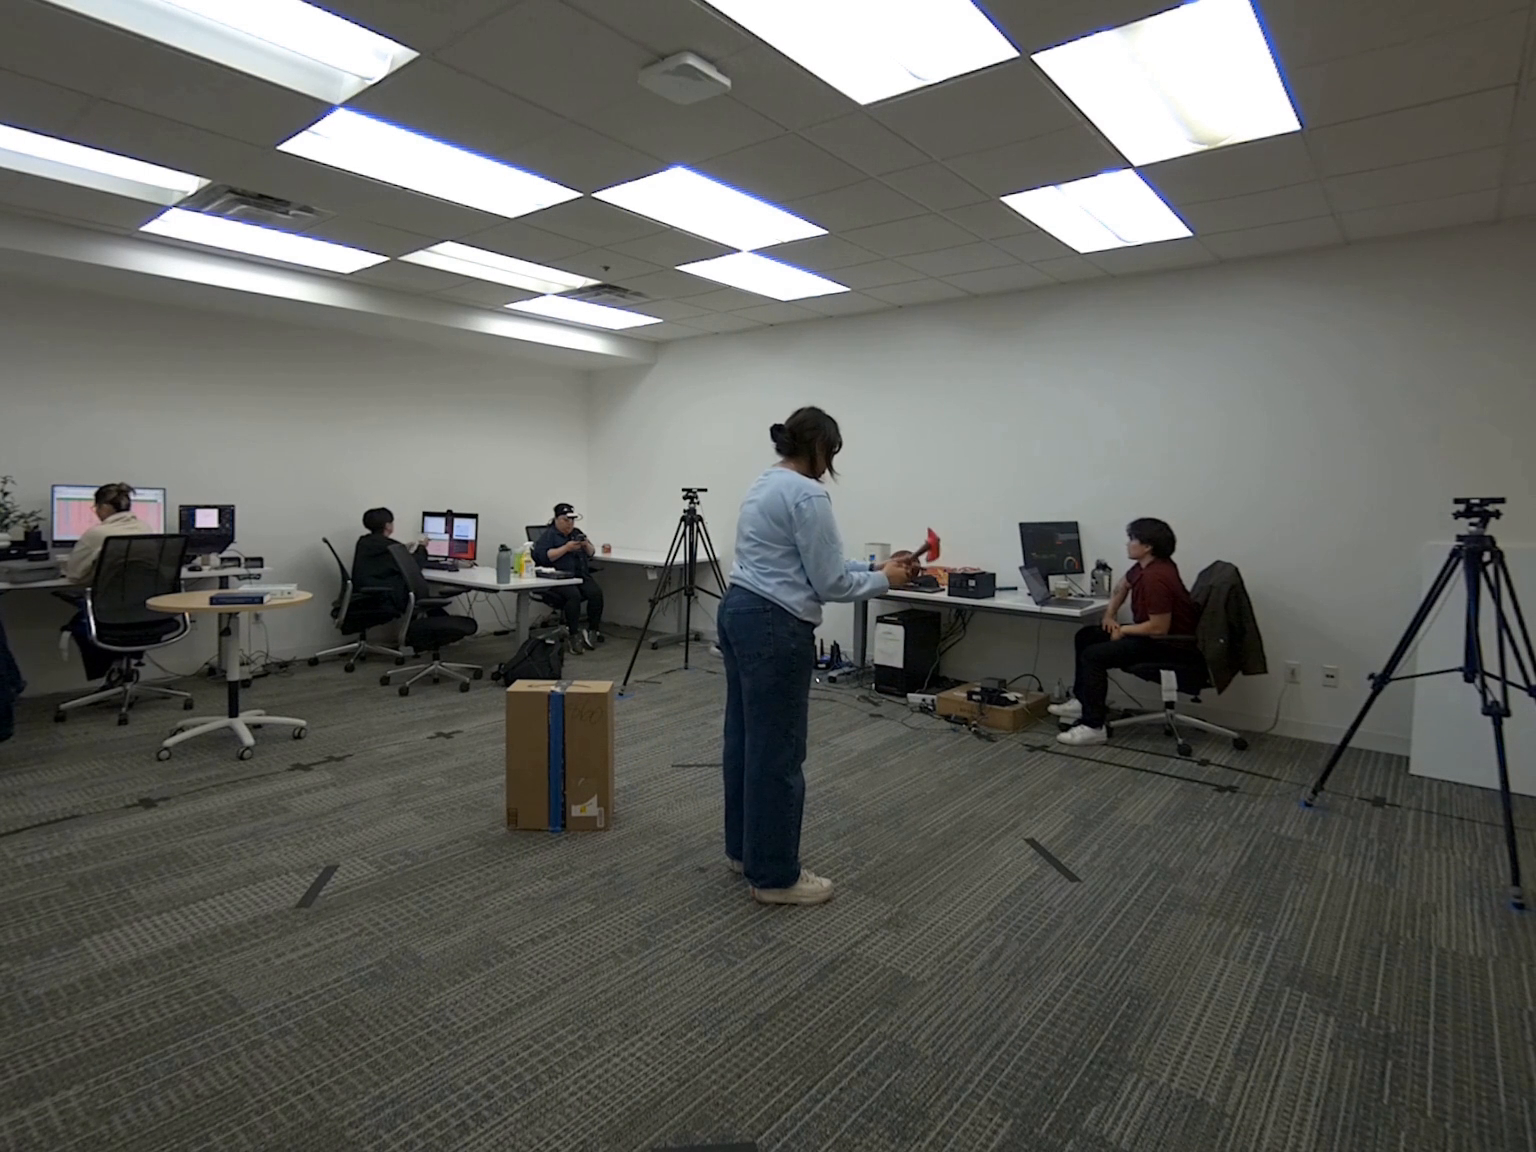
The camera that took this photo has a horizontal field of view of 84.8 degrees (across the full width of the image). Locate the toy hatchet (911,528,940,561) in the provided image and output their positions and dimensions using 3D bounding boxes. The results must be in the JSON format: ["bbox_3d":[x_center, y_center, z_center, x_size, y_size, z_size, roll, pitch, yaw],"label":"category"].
[{"bbox_3d":[0.507,-0.041,3.035,0.126,0.270,0.031,47,-12,-33],"label":"toy hatchet"}]
